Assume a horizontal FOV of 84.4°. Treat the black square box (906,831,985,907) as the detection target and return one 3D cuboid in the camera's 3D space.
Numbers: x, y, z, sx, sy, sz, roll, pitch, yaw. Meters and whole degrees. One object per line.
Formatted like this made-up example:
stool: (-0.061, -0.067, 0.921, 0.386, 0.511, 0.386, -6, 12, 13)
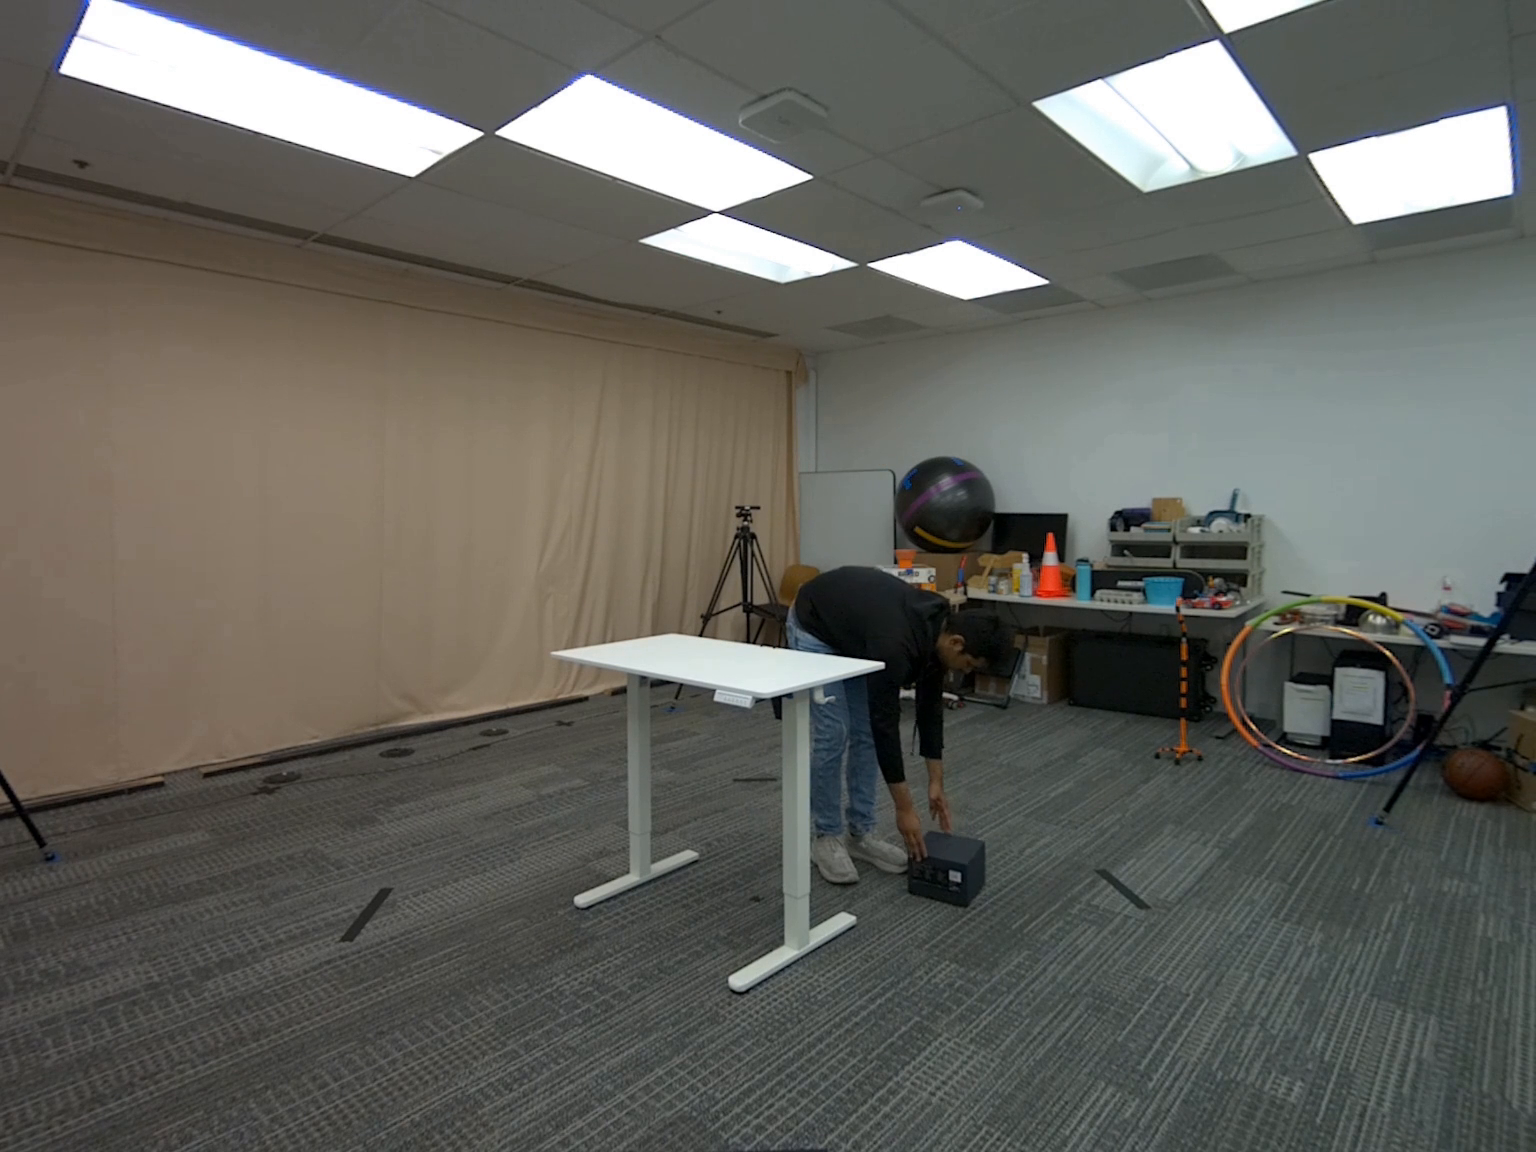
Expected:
black square box: (0.653, 1.042, 3.045, 0.223, 0.155, 0.222, 2, 5, 30)
